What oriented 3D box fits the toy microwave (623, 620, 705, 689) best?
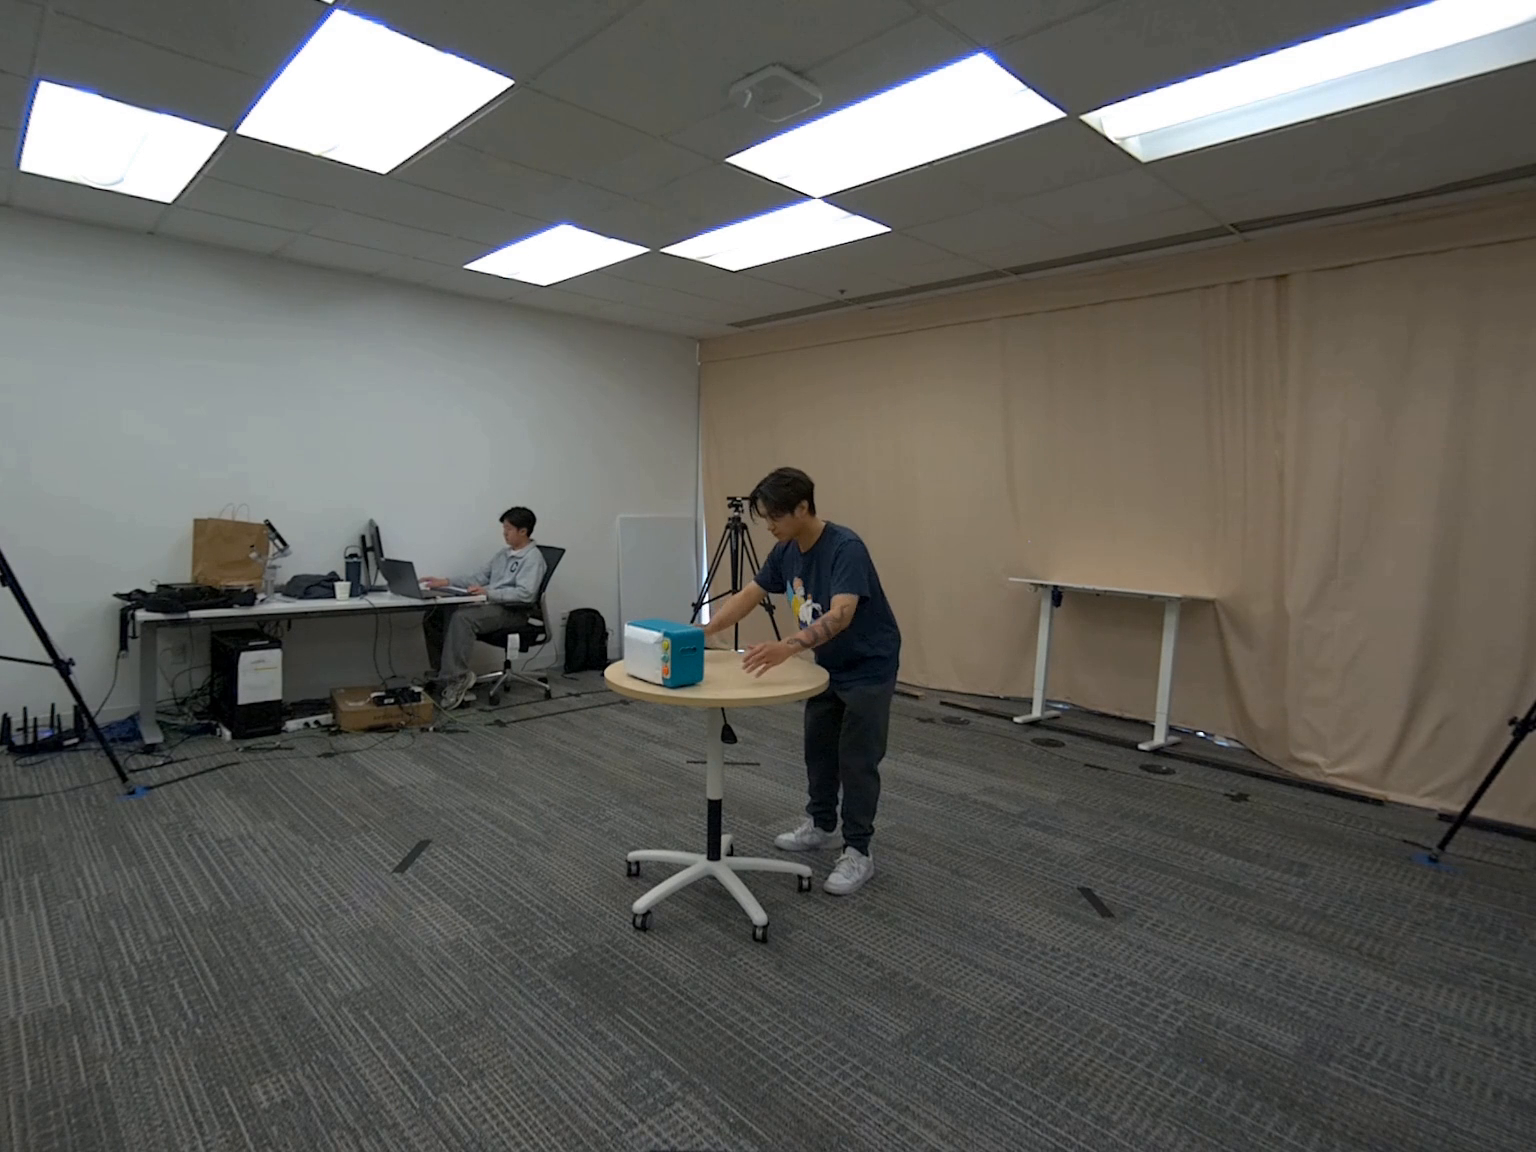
[{"bbox_3d":[-0.352,0.250,2.720,0.149,0.183,0.293,-2,6,-40],"label":"toy microwave"}]
